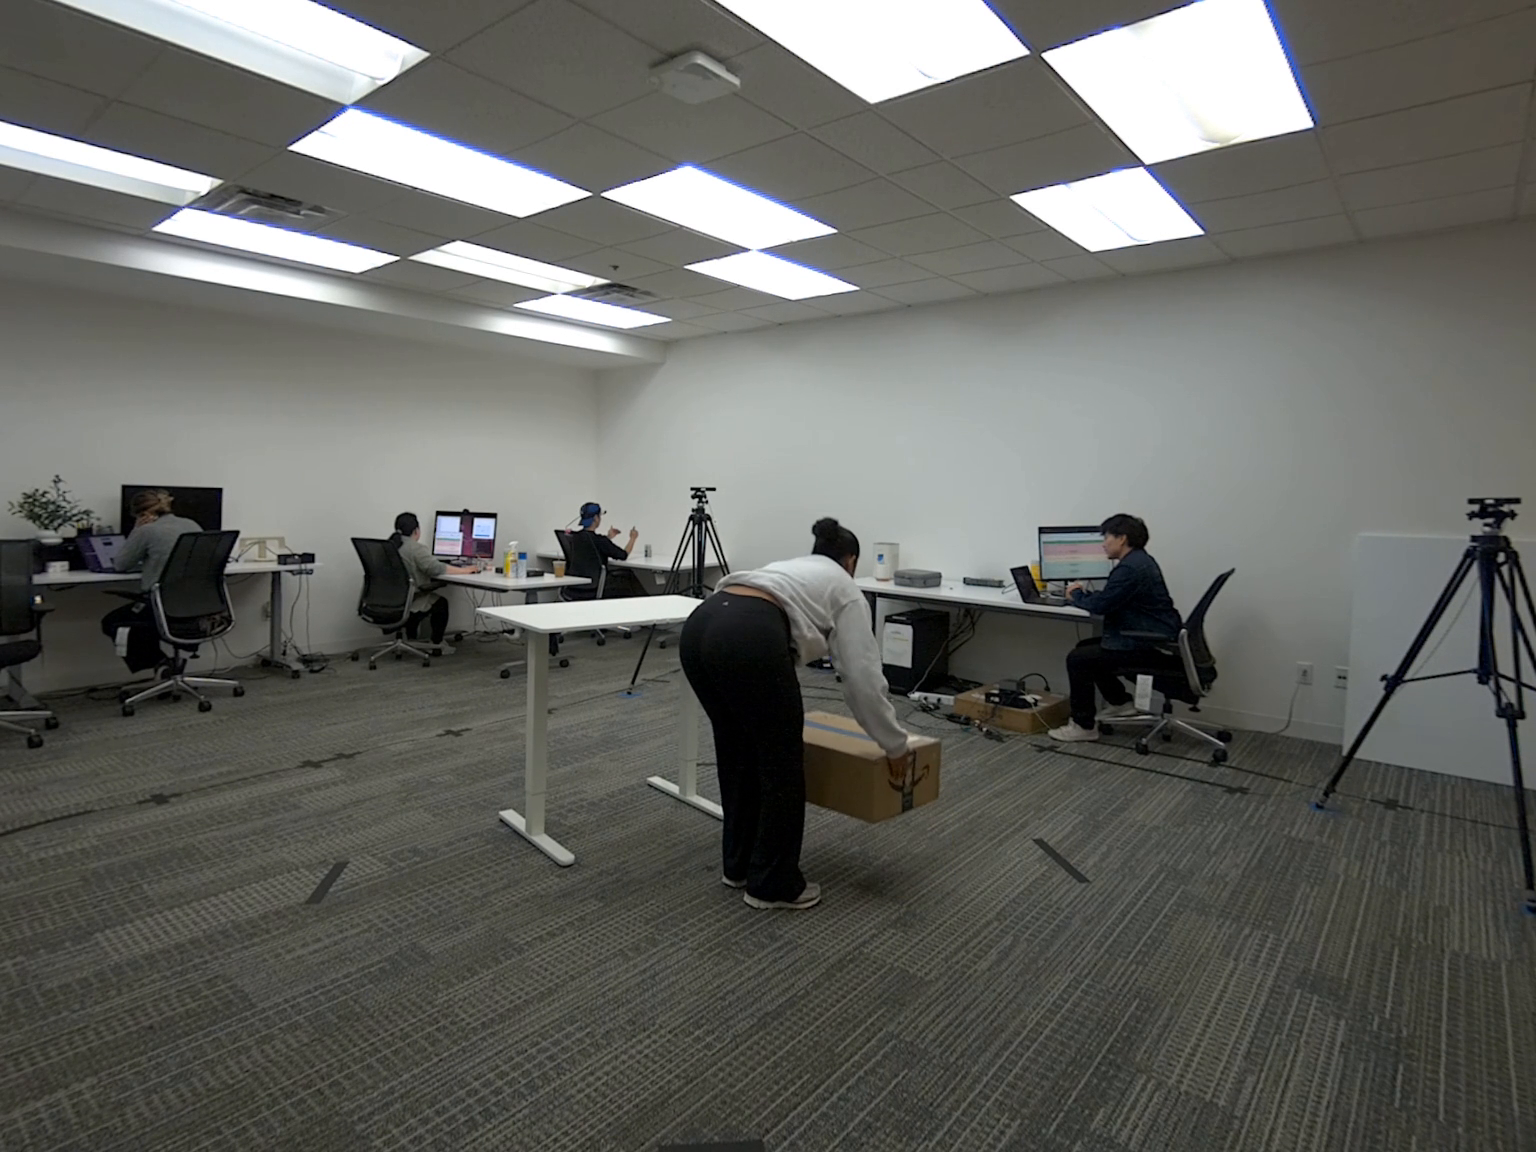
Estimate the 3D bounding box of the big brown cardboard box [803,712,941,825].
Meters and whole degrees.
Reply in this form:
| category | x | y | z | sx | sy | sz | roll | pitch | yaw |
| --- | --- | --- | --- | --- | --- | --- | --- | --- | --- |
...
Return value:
| category | x | y | z | sx | sy | sz | roll | pitch | yaw |
| --- | --- | --- | --- | --- | --- | --- | --- | --- | --- |
| big brown cardboard box | 0.267 | 0.669 | 3.118 | 0.609 | 0.233 | 0.404 | 5 | 4 | 42 |
